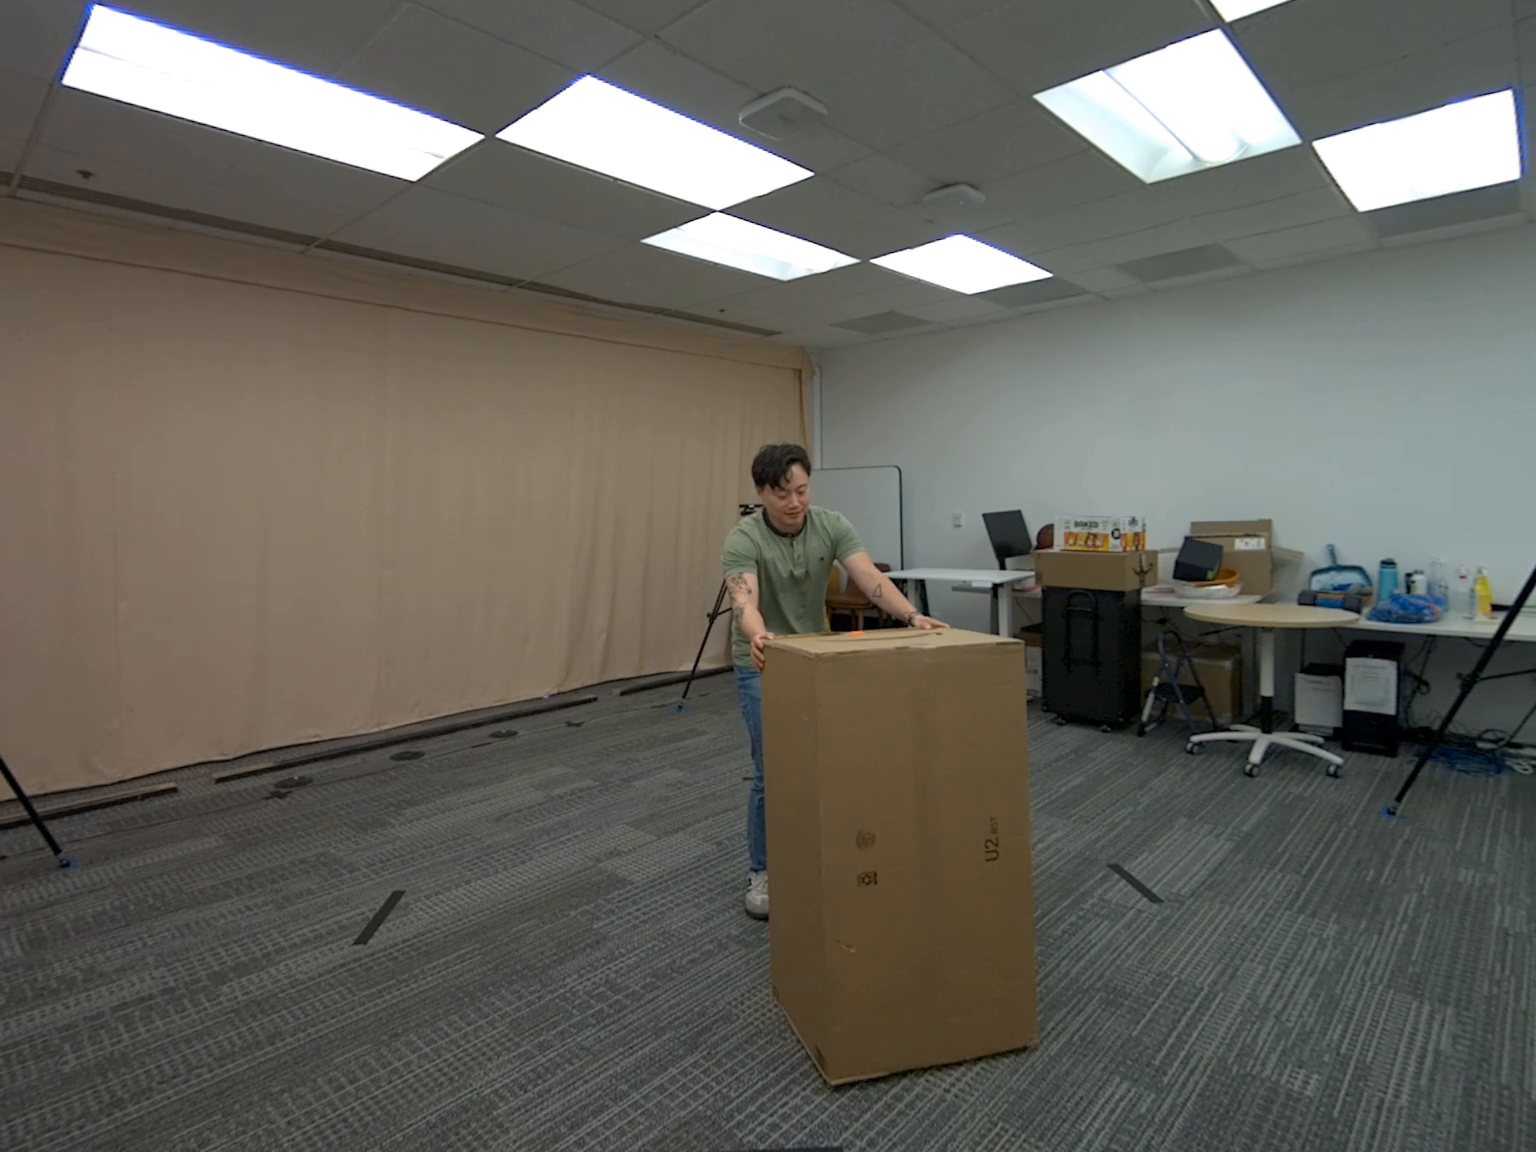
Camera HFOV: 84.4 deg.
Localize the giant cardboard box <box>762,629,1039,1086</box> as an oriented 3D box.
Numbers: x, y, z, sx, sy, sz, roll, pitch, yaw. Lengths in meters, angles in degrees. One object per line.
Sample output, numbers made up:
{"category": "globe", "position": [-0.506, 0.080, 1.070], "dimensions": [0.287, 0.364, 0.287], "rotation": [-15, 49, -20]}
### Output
{"category": "giant cardboard box", "position": [0.336, 0.683, 2.257], "dimensions": [0.568, 1.025, 0.433], "rotation": [-2, 1, -17]}
